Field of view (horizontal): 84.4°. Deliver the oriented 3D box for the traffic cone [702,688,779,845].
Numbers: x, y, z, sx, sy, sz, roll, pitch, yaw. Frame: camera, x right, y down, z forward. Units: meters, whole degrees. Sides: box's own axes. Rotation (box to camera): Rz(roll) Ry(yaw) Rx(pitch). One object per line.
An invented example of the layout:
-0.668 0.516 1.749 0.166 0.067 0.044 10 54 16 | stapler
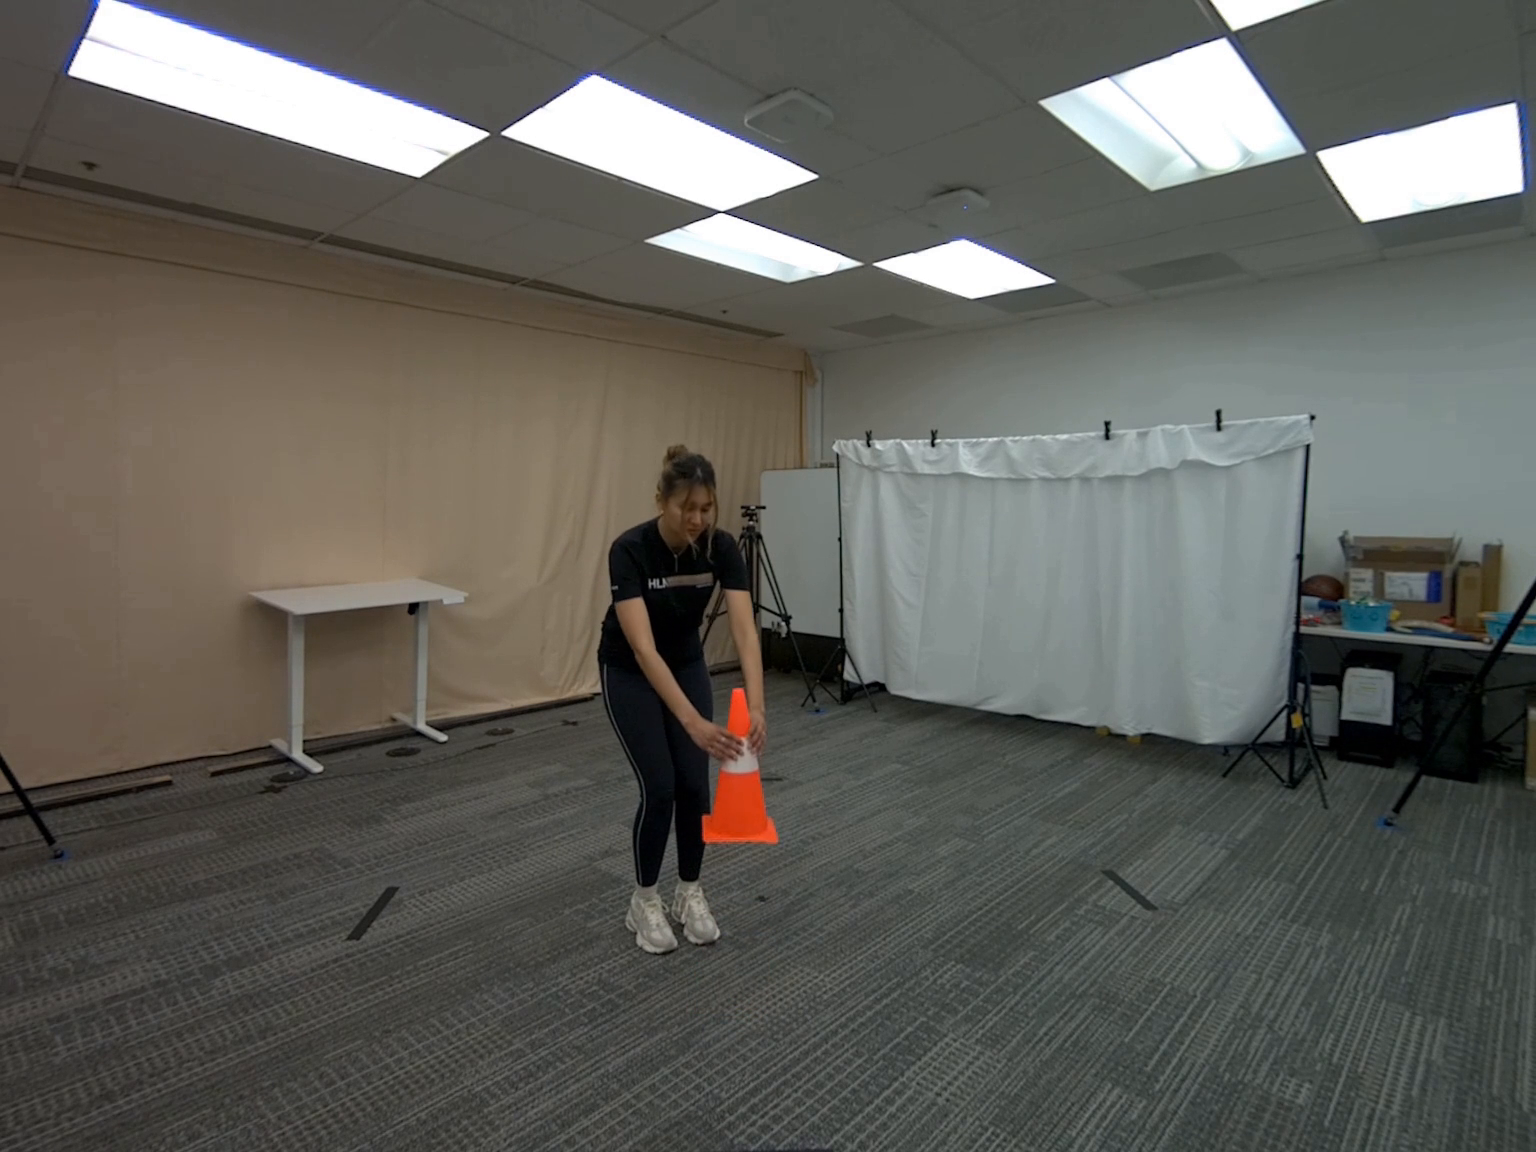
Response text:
-0.079 0.502 2.288 0.203 0.384 0.205 -2 0 -7 | traffic cone
